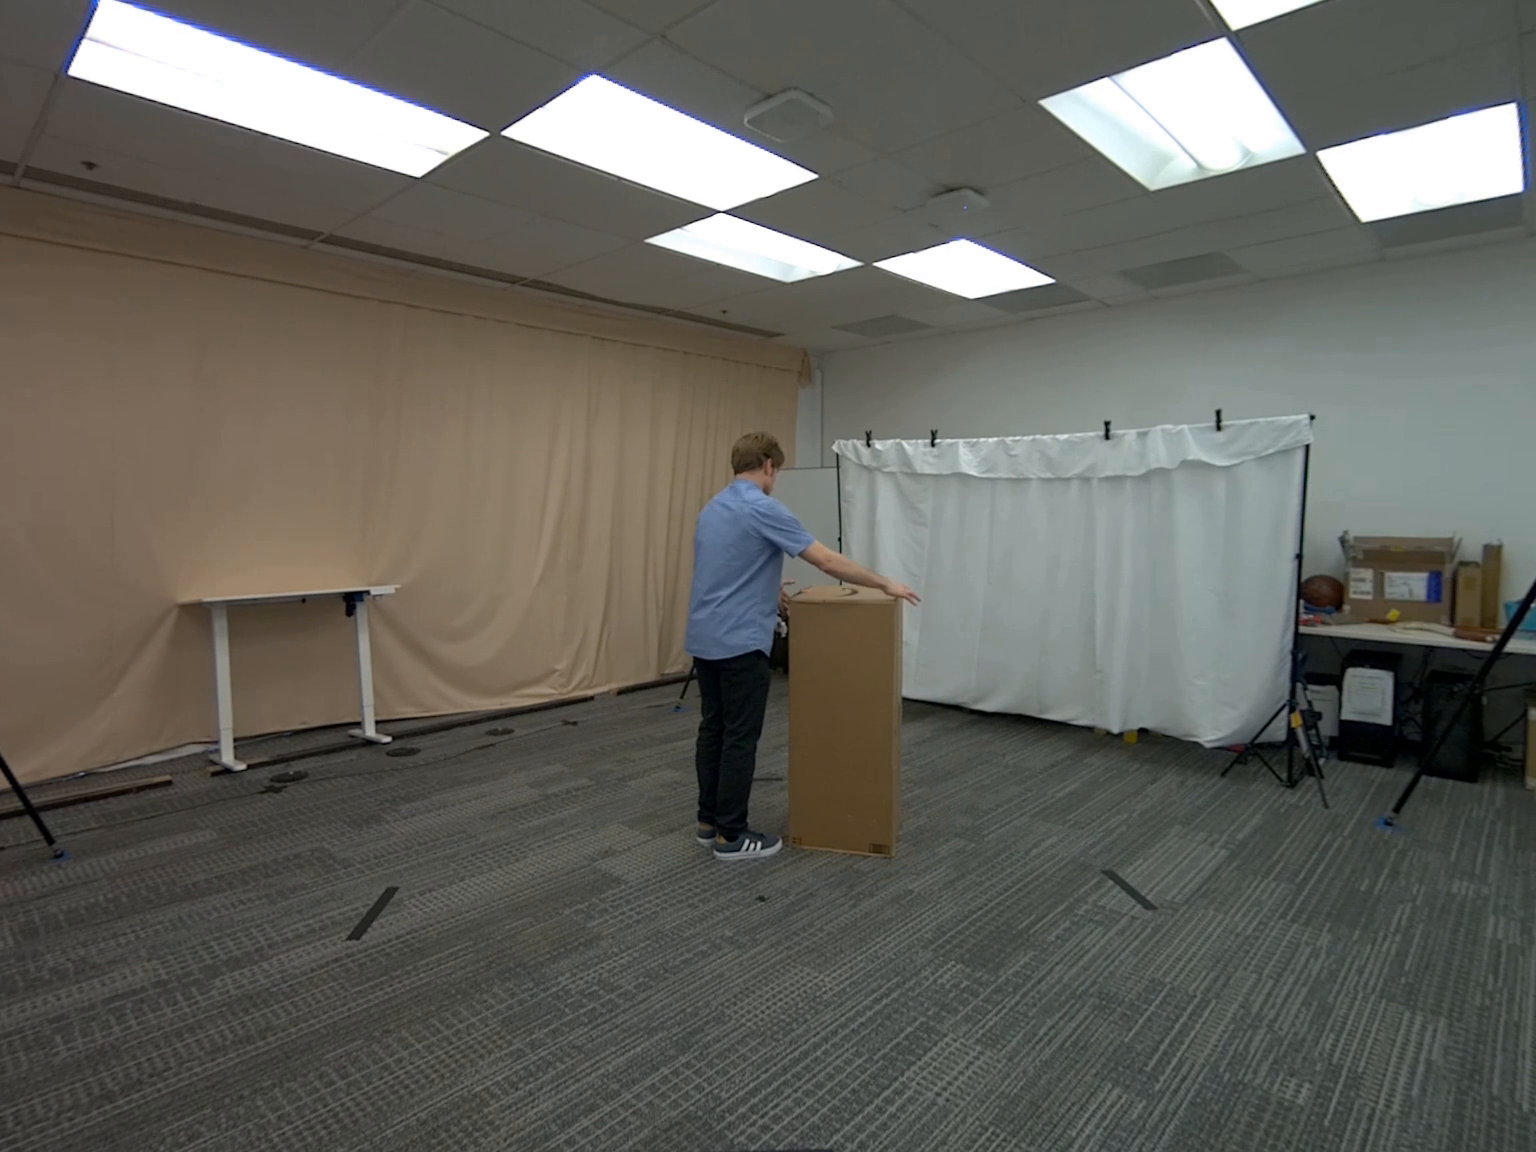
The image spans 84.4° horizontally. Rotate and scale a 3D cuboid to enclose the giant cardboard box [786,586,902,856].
[{"bbox_3d":[0.344,0.579,3.622,0.433,1.023,0.569,1,4,14],"label":"giant cardboard box"}]
